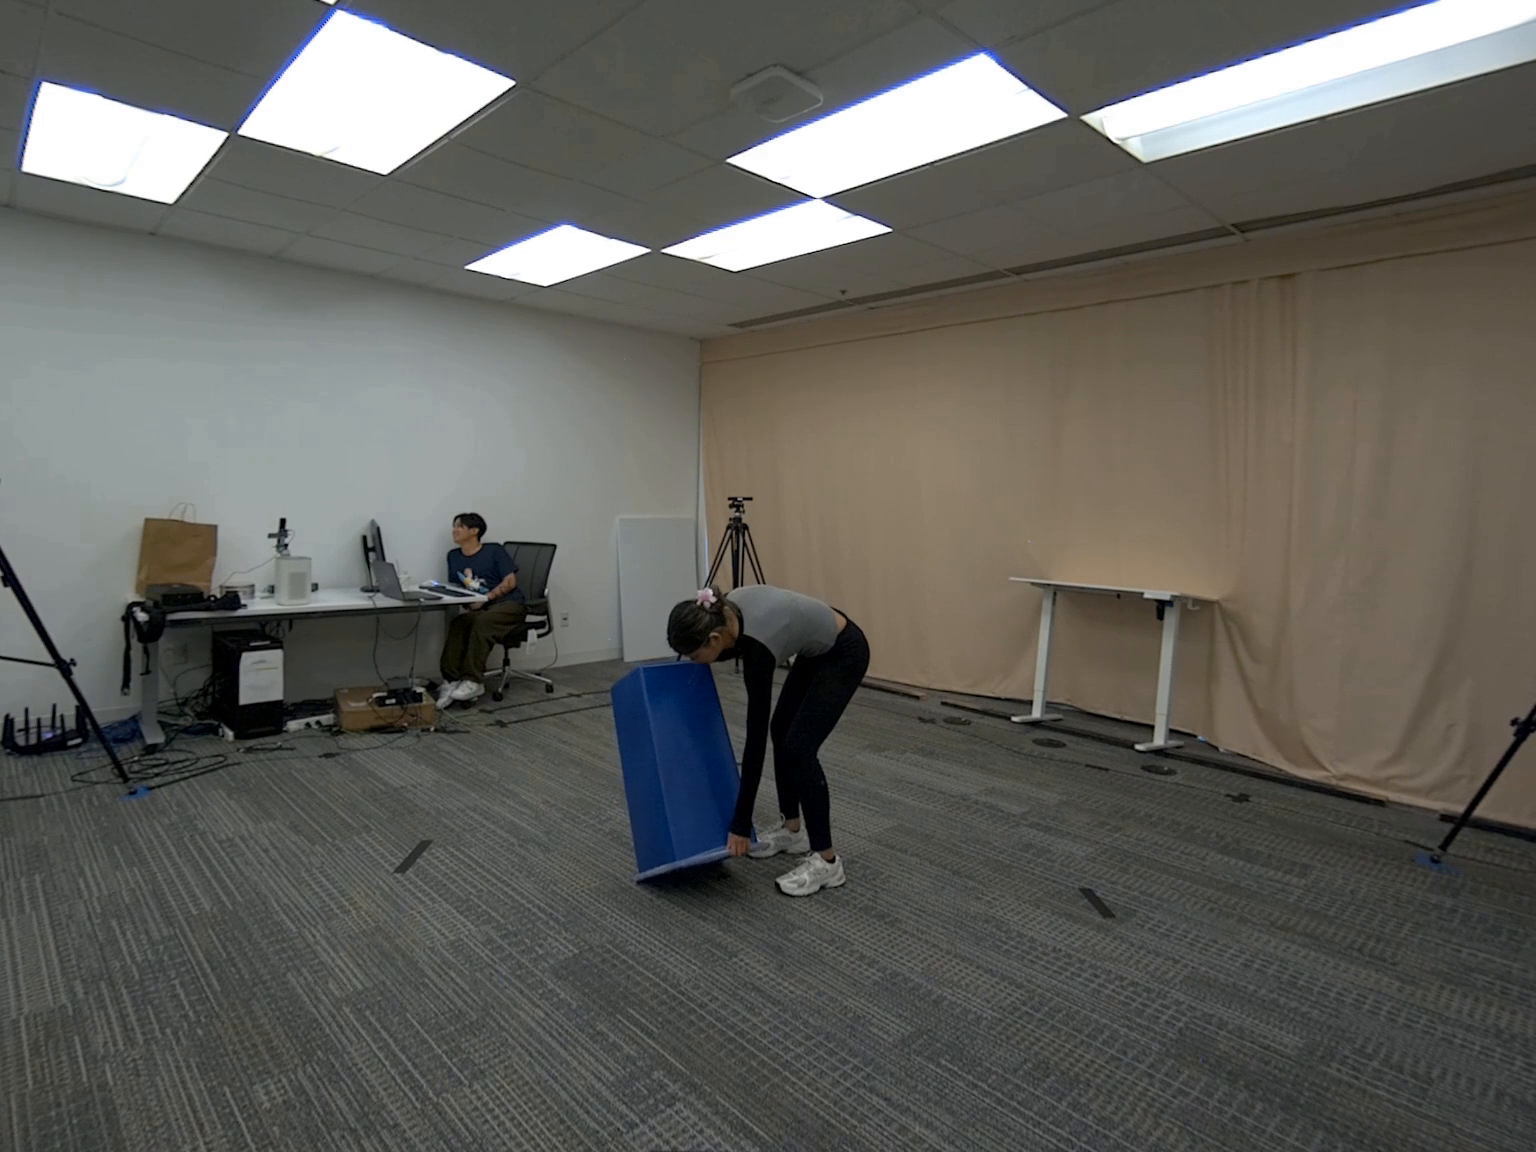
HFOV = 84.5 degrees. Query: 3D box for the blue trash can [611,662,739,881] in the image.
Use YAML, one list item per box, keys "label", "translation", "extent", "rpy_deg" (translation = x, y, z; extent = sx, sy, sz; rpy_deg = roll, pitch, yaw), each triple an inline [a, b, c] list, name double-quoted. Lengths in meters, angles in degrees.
- label: "blue trash can"
  translation: [-0.343, 0.709, 3.122]
  extent: [0.370, 0.726, 0.375]
  rpy_deg: [-2, -23, -33]
